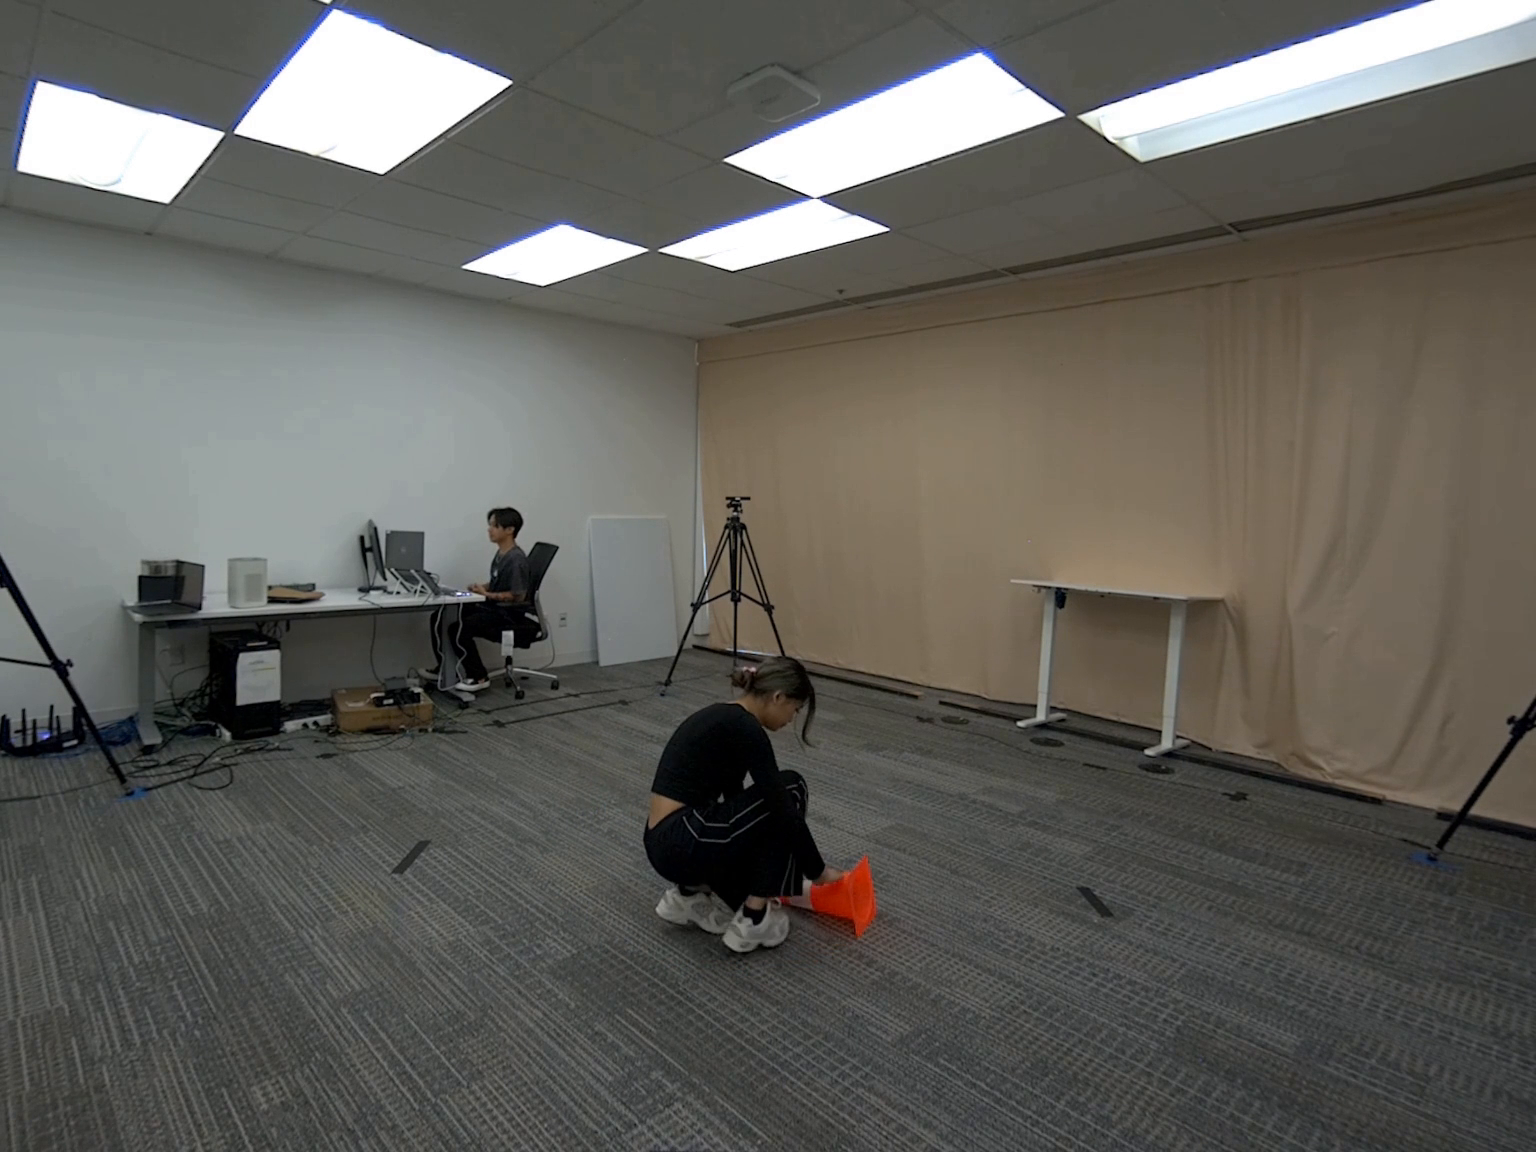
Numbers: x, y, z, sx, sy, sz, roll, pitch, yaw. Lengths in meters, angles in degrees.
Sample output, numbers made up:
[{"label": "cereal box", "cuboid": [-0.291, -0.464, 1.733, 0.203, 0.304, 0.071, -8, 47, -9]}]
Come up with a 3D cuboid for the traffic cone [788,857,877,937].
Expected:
[{"label": "traffic cone", "cuboid": [0.138, 1.074, 2.856, 0.390, 0.205, 0.199, -9, -3, 27]}]
